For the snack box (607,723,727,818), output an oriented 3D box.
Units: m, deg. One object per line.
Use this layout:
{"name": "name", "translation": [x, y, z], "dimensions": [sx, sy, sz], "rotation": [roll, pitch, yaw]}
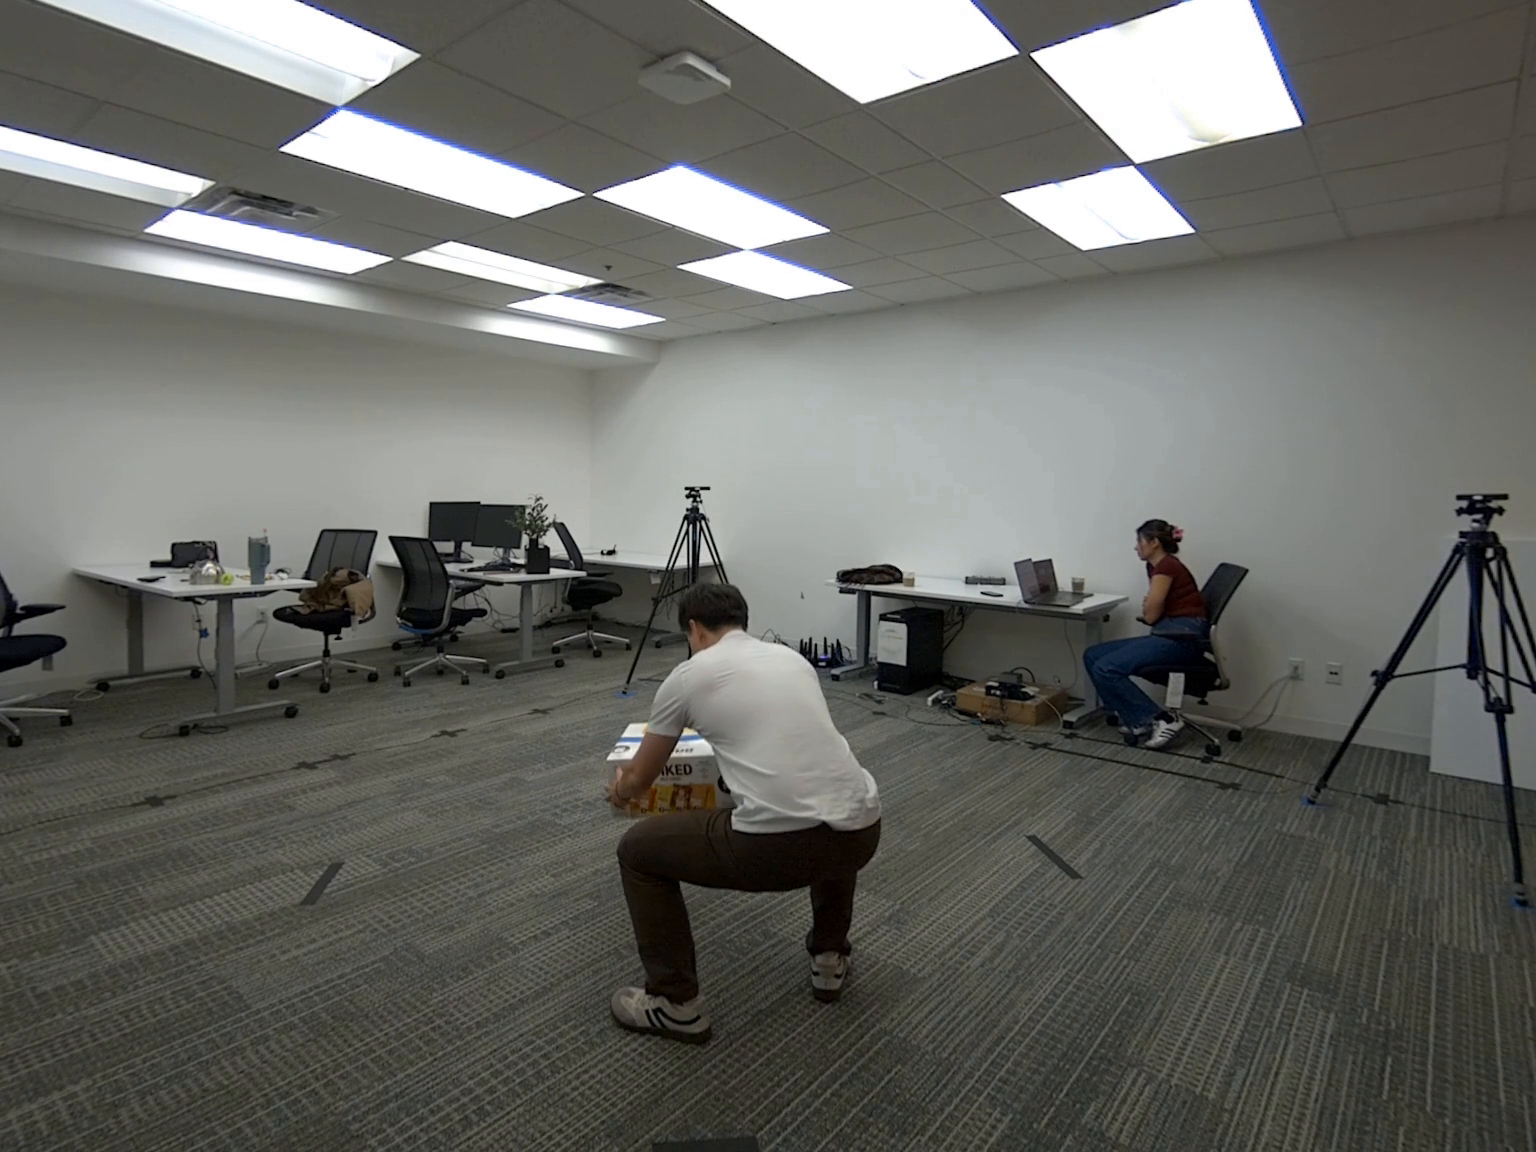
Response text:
{"name": "snack box", "translation": [-0.308, 0.628, 2.833], "dimensions": [0.408, 0.204, 0.340], "rotation": [-5, 7, 6]}
